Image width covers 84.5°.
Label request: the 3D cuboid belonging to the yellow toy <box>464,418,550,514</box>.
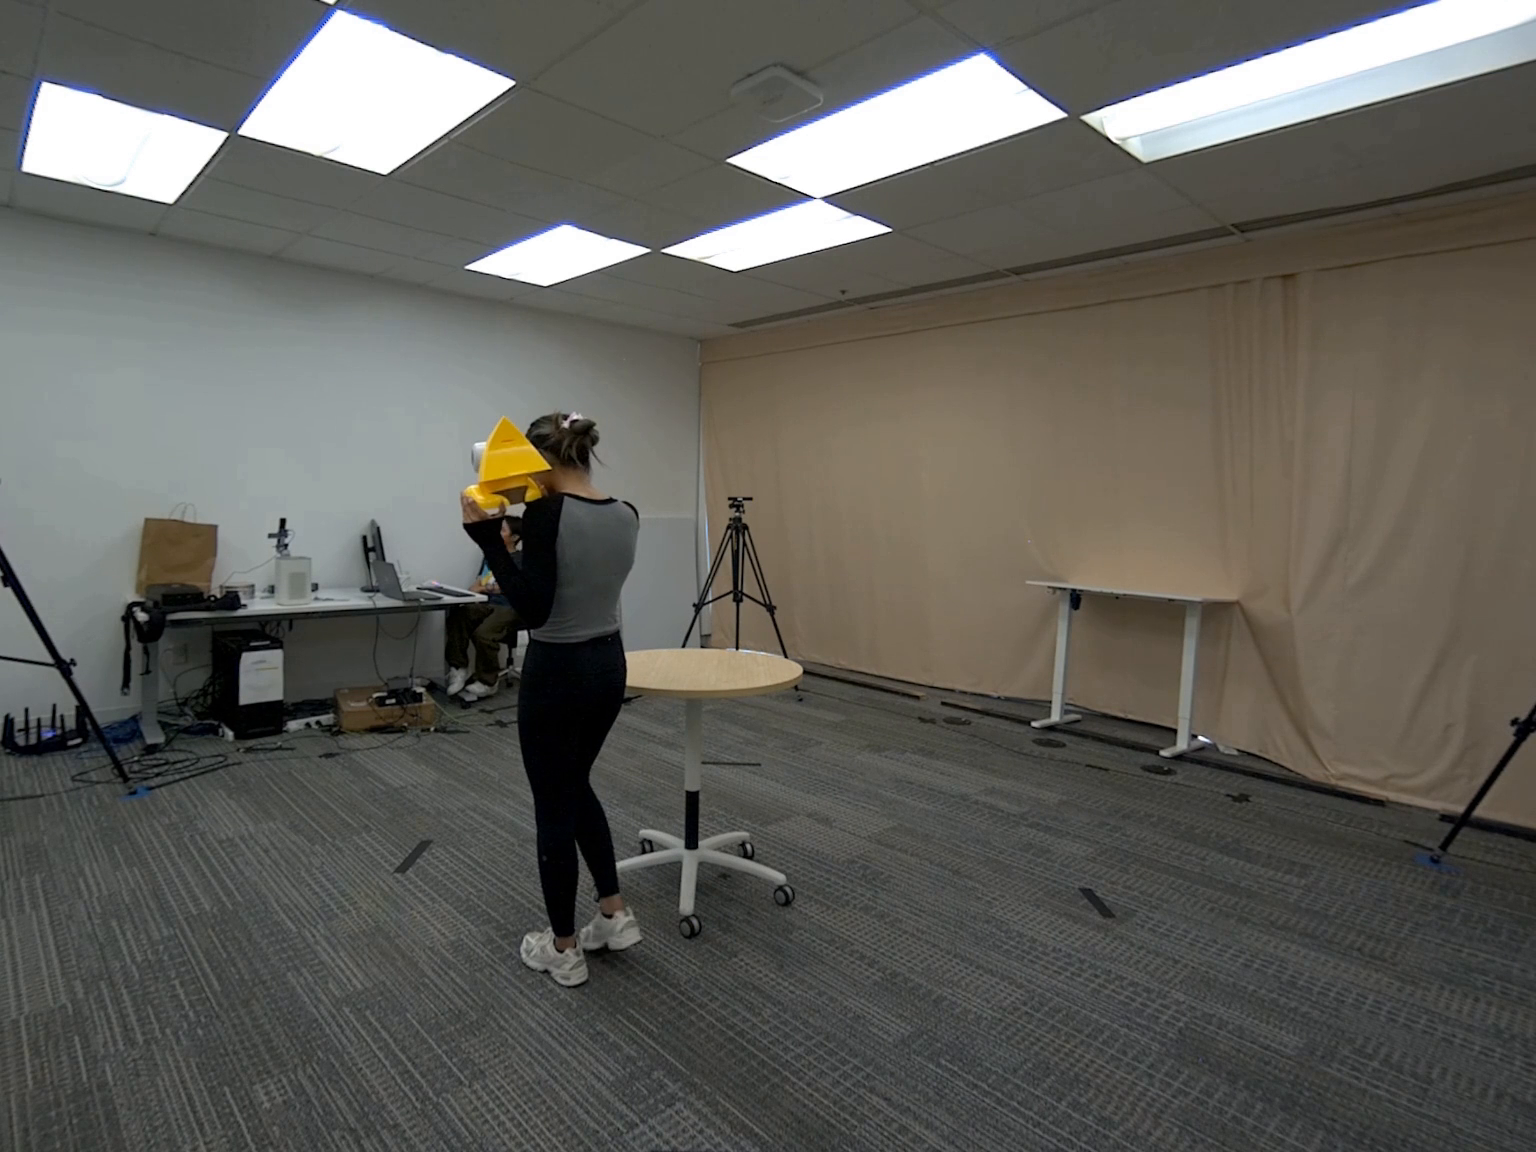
[{"bbox_3d":[-0.722,-0.309,2.231,0.201,0.228,0.198,-18,19,-42],"label":"yellow toy"}]
